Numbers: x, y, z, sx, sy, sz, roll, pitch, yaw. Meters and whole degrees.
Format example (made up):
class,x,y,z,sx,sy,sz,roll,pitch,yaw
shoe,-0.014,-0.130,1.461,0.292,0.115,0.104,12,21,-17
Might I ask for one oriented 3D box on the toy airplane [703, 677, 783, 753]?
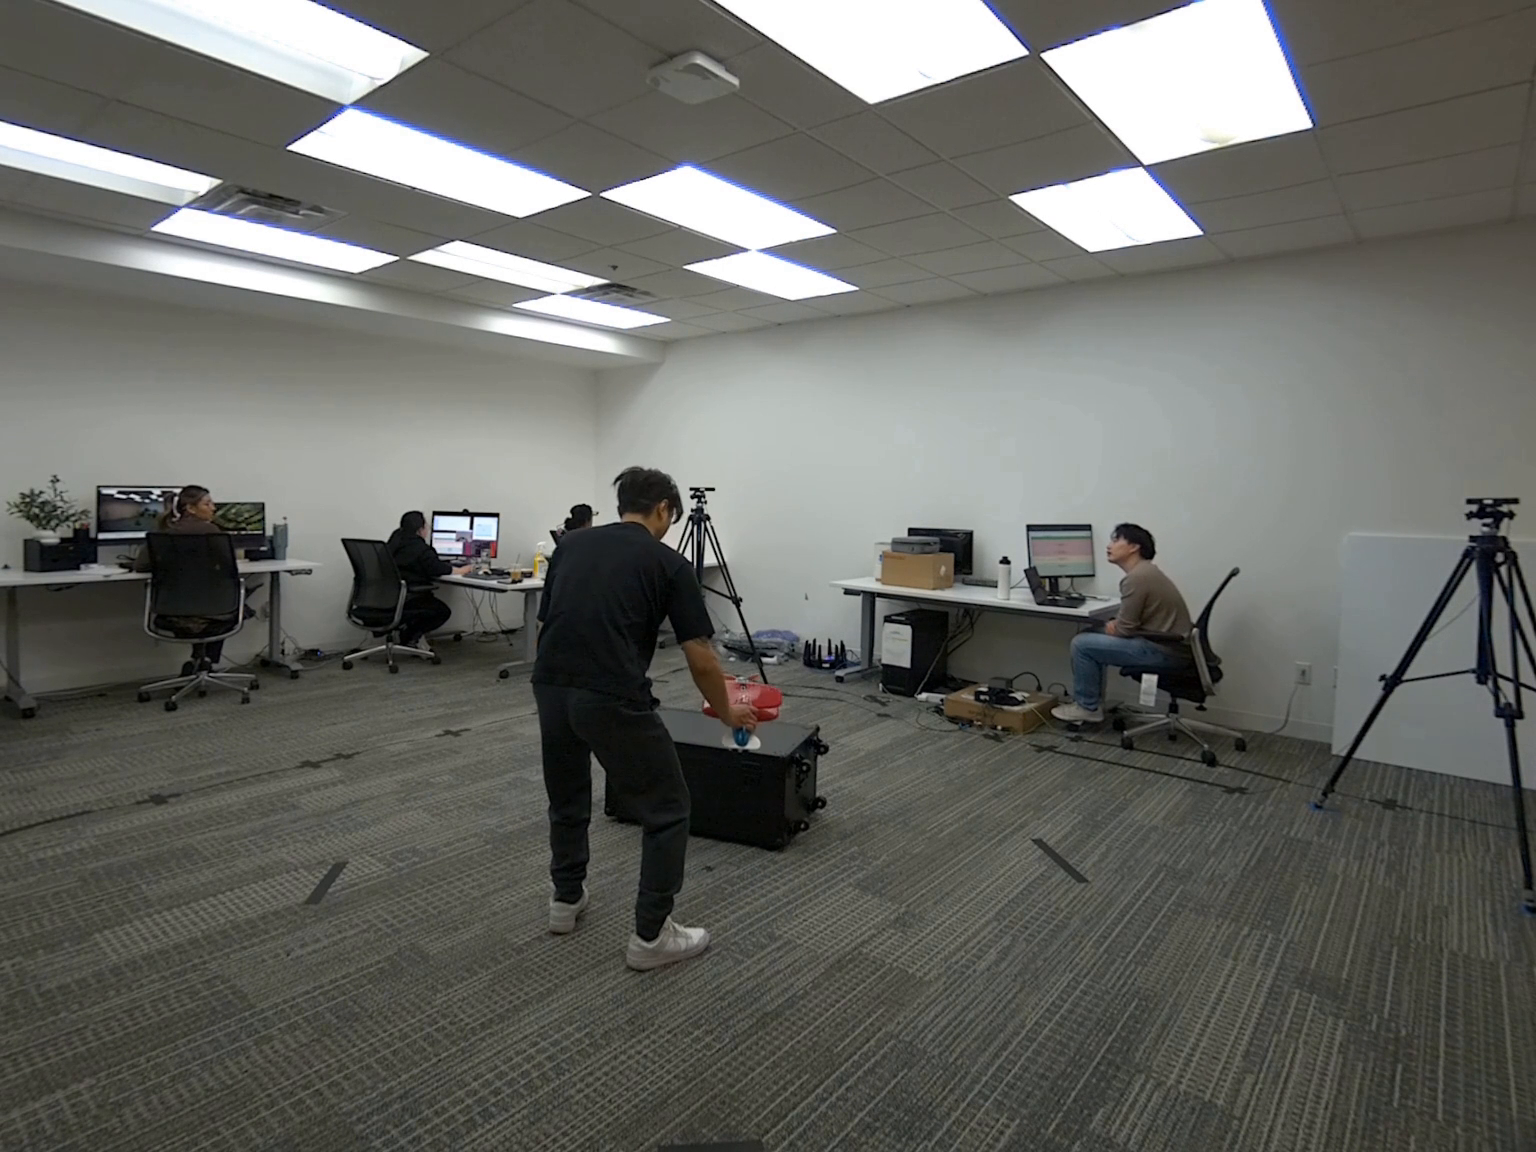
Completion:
class,x,y,z,sx,sy,sz,roll,pitch,yaw
toy airplane,-0.077,0.450,2.782,0.246,0.153,0.270,-13,37,-27
